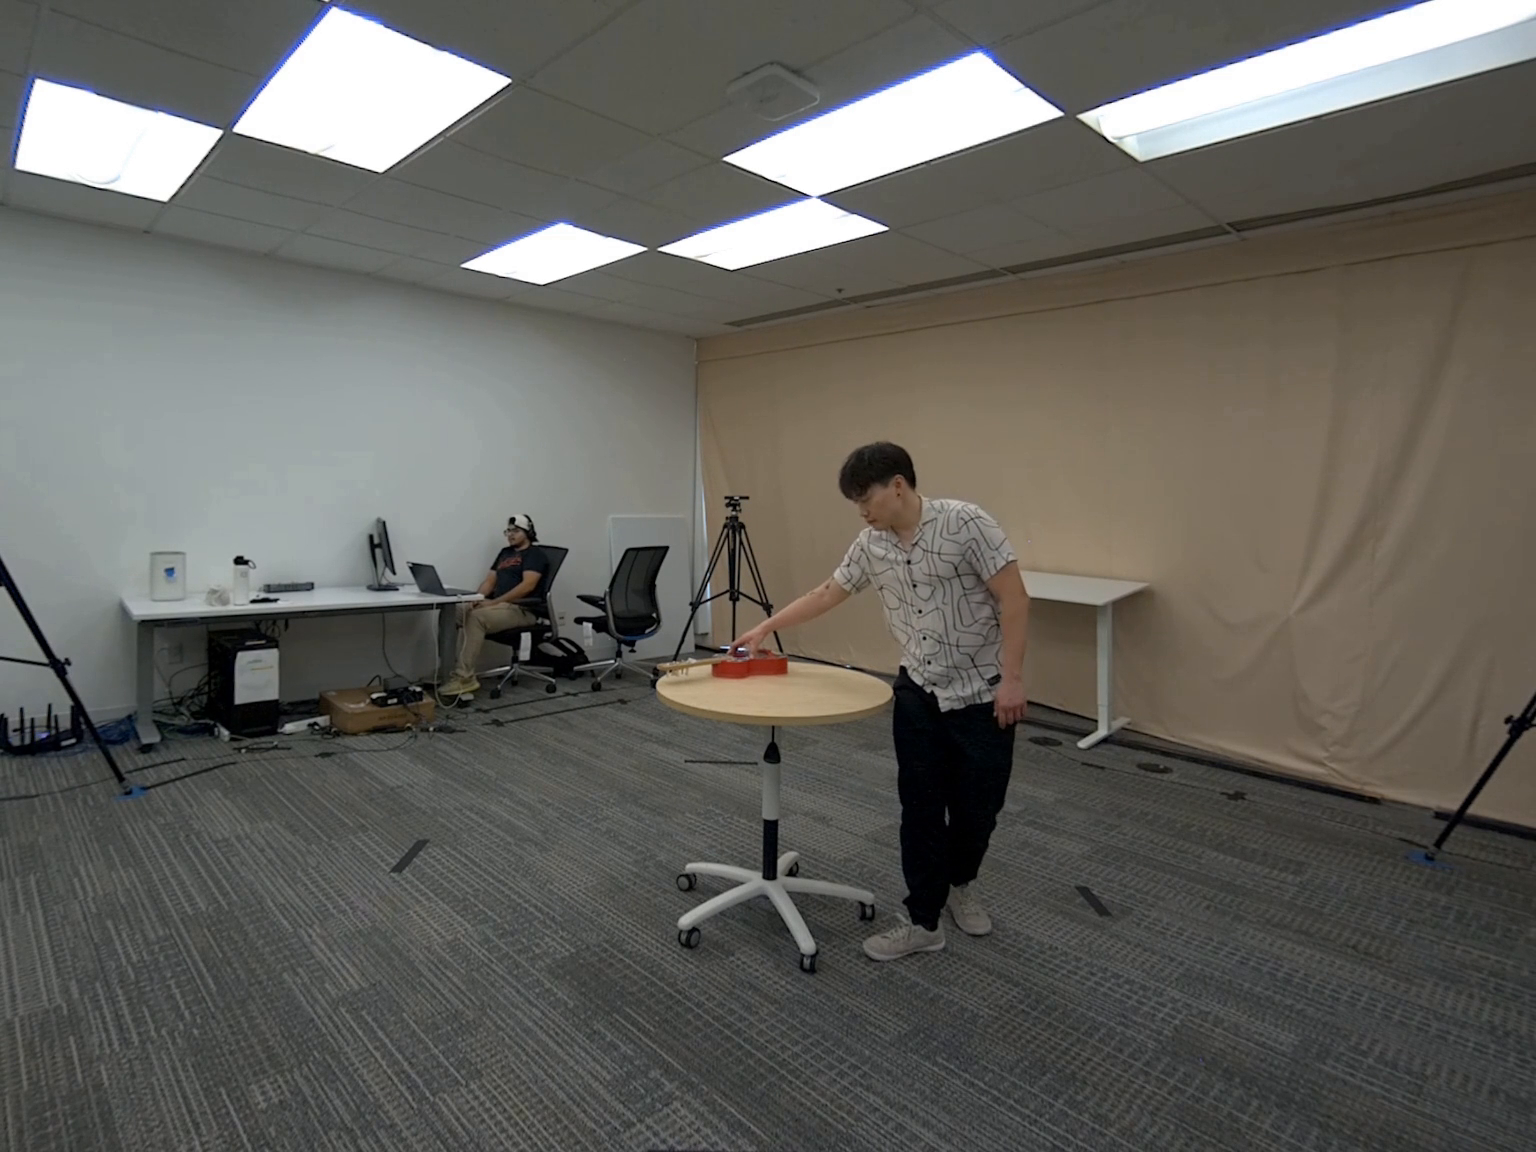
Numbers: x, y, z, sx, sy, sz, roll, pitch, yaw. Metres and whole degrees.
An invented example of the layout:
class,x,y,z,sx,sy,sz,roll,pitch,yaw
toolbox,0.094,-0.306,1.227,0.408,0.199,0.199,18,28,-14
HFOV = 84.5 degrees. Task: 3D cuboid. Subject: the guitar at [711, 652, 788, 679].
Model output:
class,x,y,z,sx,sy,sz,roll,pitch,yaw
guitar,-0.173,0.309,2.889,0.488,0.070,0.197,-2,6,-27
